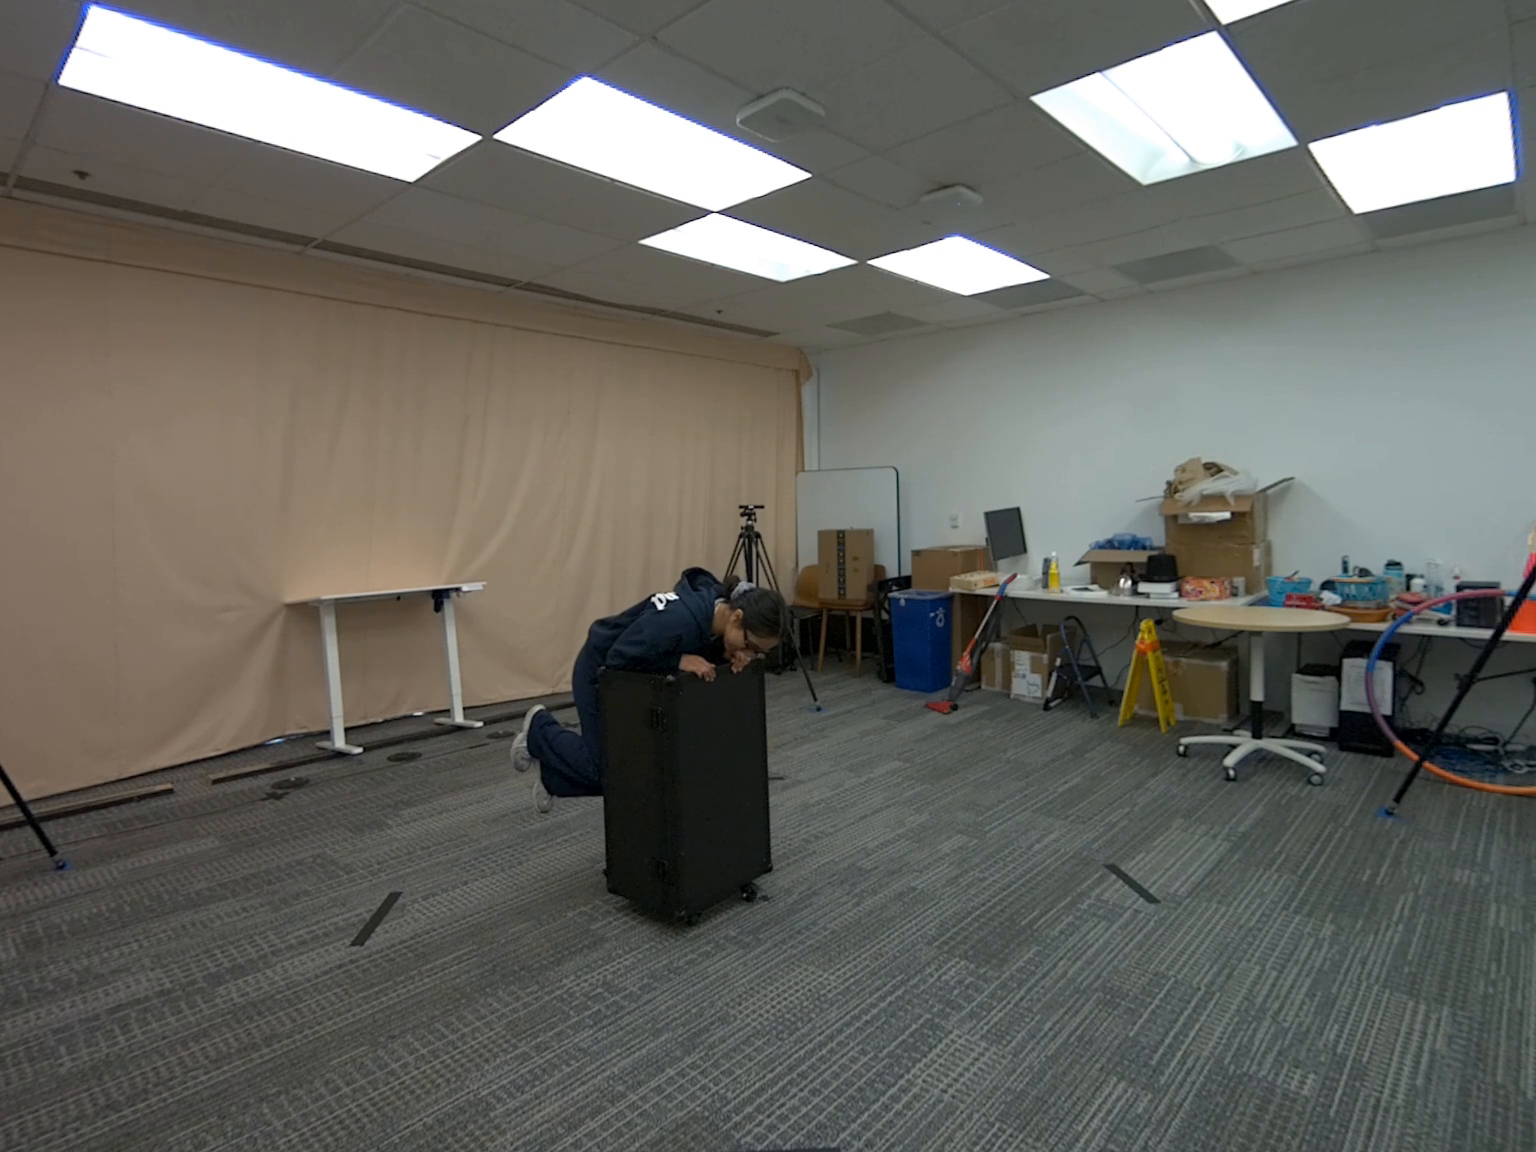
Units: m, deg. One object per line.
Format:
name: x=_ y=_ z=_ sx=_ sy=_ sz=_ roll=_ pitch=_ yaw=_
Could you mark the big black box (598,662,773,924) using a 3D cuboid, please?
big black box: x=-0.289 y=0.730 z=2.963 sx=0.409 sy=0.860 sz=0.506 roll=-1 pitch=3 yaw=40
